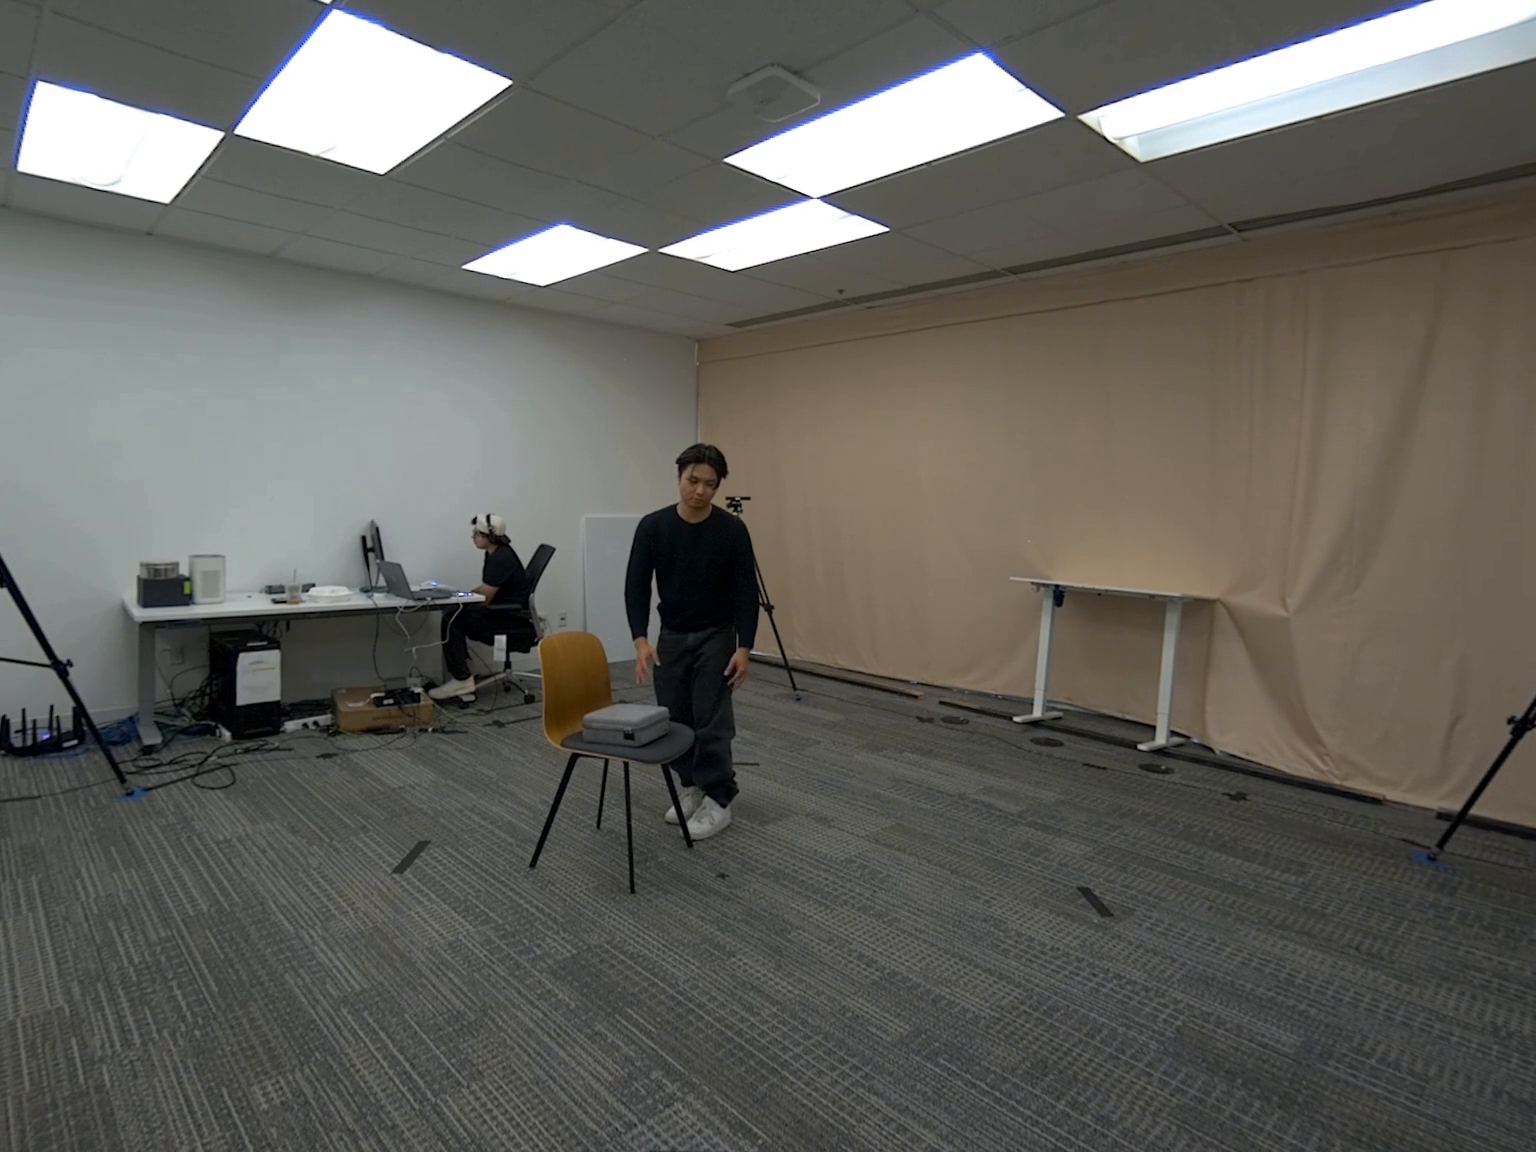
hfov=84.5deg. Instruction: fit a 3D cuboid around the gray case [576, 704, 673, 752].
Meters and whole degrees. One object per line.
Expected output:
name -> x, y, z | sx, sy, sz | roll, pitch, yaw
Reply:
gray case -> -0.535, 0.561, 3.155 | 0.261, 0.104, 0.256 | 0, 1, 23
